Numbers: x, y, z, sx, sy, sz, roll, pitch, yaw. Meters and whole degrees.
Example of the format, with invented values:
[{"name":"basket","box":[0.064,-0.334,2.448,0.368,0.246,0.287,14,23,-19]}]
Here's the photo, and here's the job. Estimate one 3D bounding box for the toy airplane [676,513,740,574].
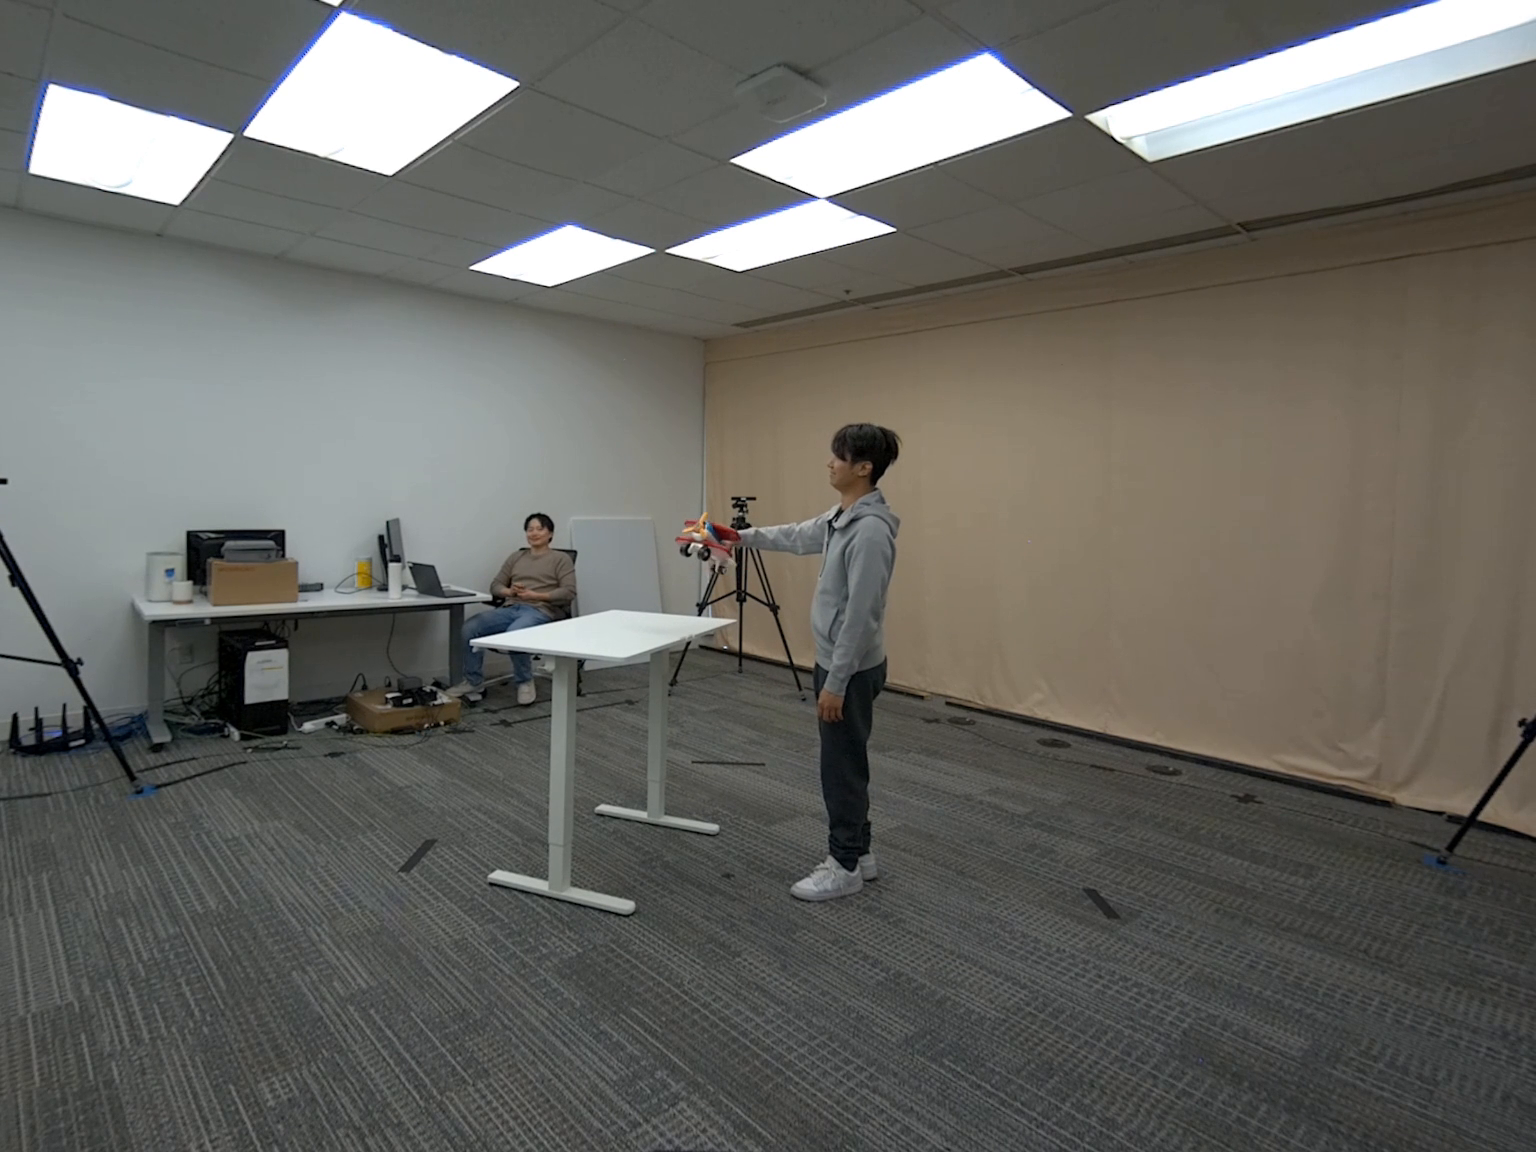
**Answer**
[{"name":"toy airplane","box":[-0.240,-0.121,3.248,0.253,0.157,0.256,18,-11,6]}]
